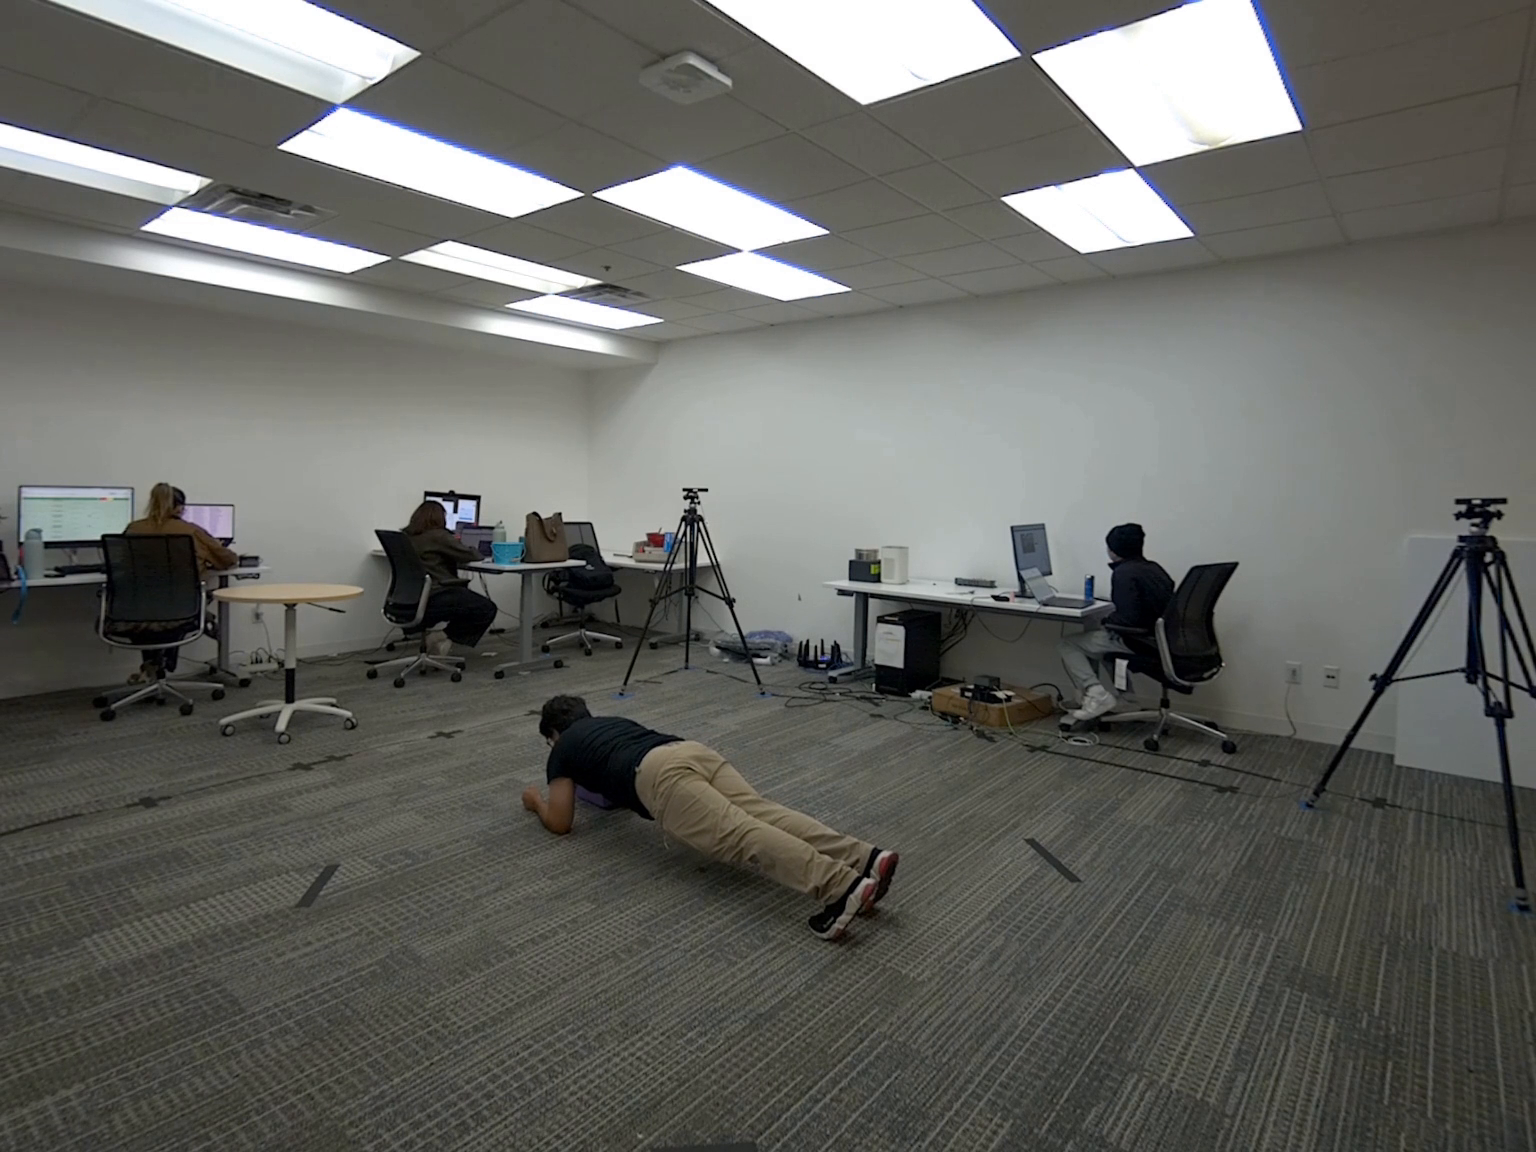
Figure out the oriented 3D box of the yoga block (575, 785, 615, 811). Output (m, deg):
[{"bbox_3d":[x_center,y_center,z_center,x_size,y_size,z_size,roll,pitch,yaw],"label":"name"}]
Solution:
[{"bbox_3d":[-0.770,0.911,3.759,0.237,0.148,0.074,1,7,45],"label":"yoga block"}]
